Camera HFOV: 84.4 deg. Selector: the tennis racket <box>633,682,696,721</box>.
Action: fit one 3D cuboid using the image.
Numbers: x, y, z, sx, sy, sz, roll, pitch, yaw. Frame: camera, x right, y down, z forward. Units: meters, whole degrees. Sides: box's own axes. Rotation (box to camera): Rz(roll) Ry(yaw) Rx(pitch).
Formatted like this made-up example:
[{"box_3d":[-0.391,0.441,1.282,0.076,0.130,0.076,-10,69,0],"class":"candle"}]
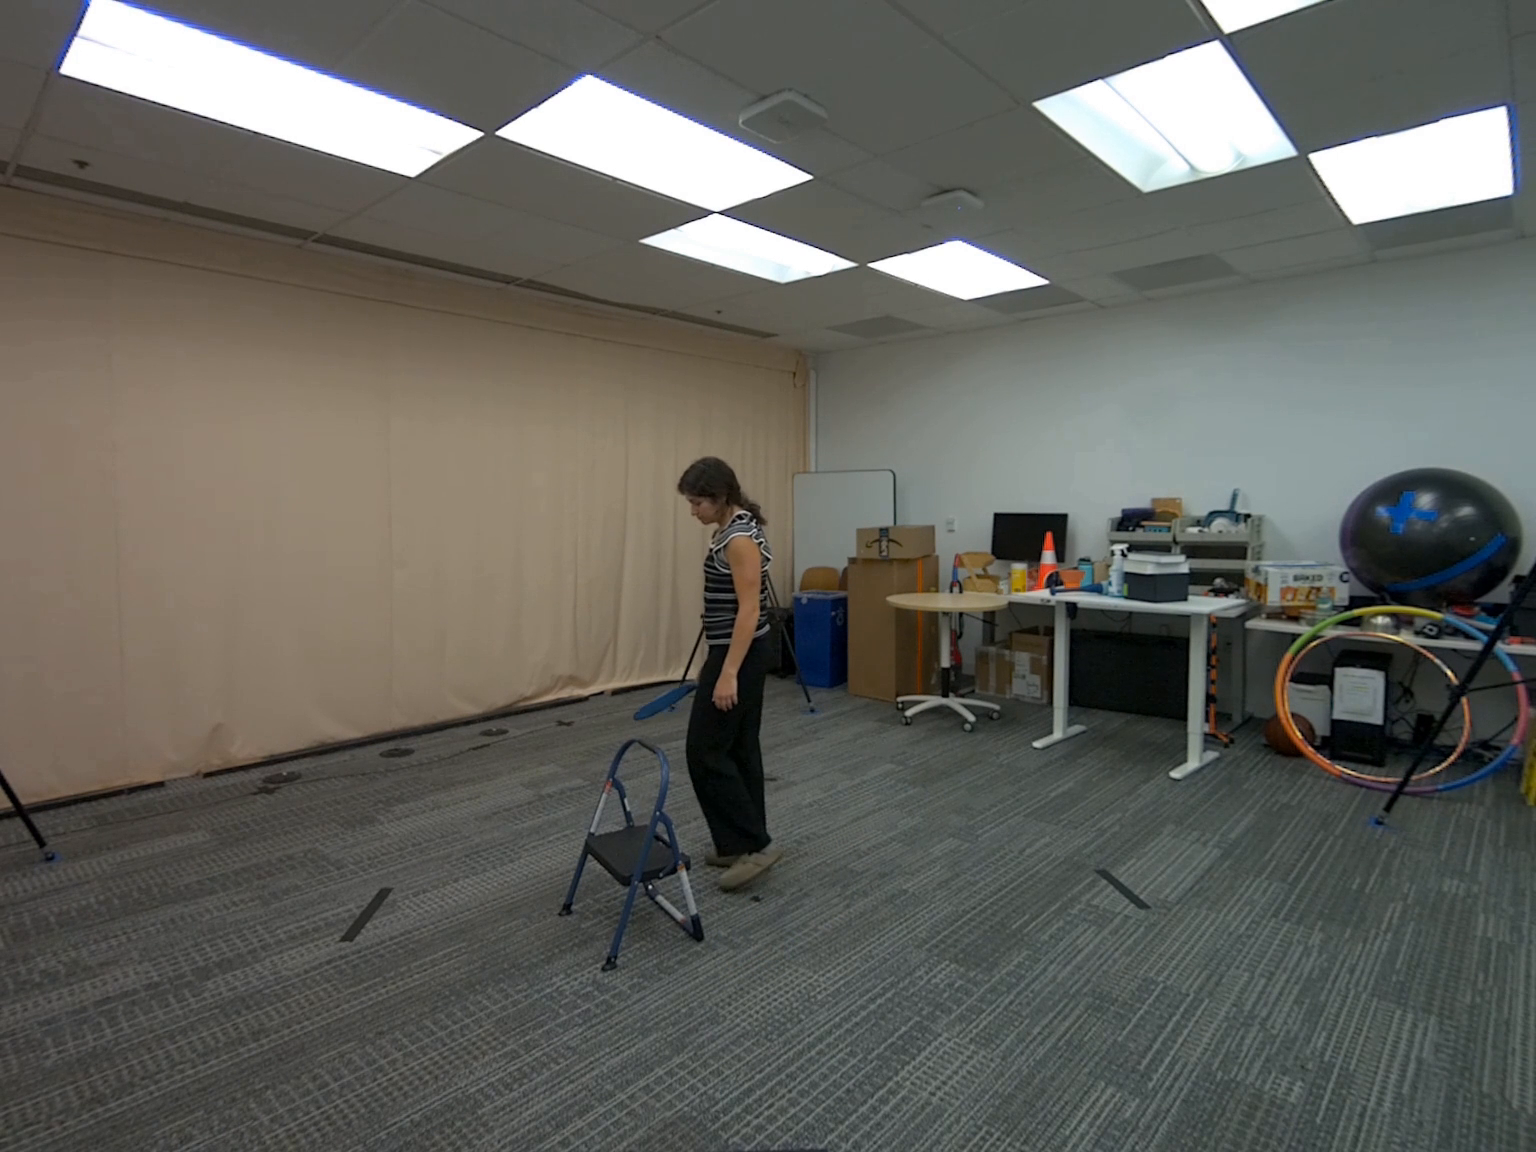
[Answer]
[{"box_3d":[-0.350,0.473,3.333,0.424,0.032,0.213,-23,-22,-30],"class":"tennis racket"}]
